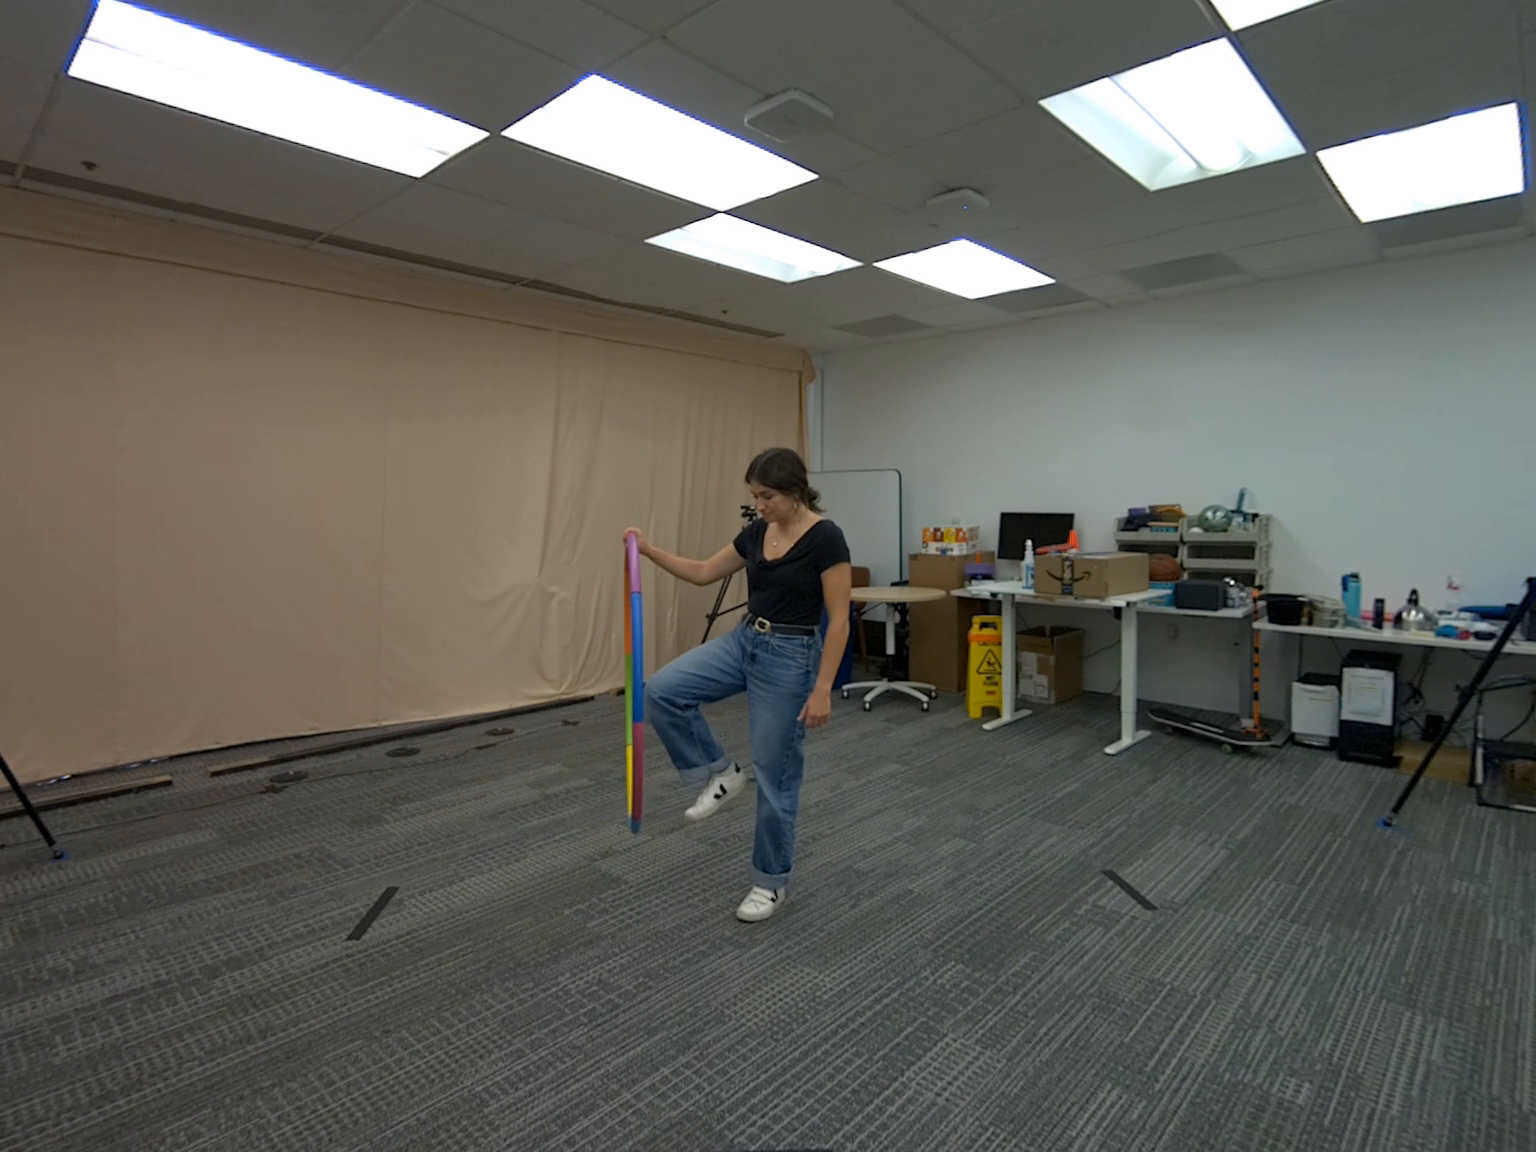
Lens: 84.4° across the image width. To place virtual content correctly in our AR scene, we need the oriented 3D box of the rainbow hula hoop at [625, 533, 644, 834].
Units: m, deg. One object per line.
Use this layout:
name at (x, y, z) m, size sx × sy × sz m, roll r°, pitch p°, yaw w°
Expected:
rainbow hula hoop at (-0.455, 0.352, 2.865) m, size 0.035 × 0.976 × 0.990 m, roll -1°, pitch 4°, yaw -11°
